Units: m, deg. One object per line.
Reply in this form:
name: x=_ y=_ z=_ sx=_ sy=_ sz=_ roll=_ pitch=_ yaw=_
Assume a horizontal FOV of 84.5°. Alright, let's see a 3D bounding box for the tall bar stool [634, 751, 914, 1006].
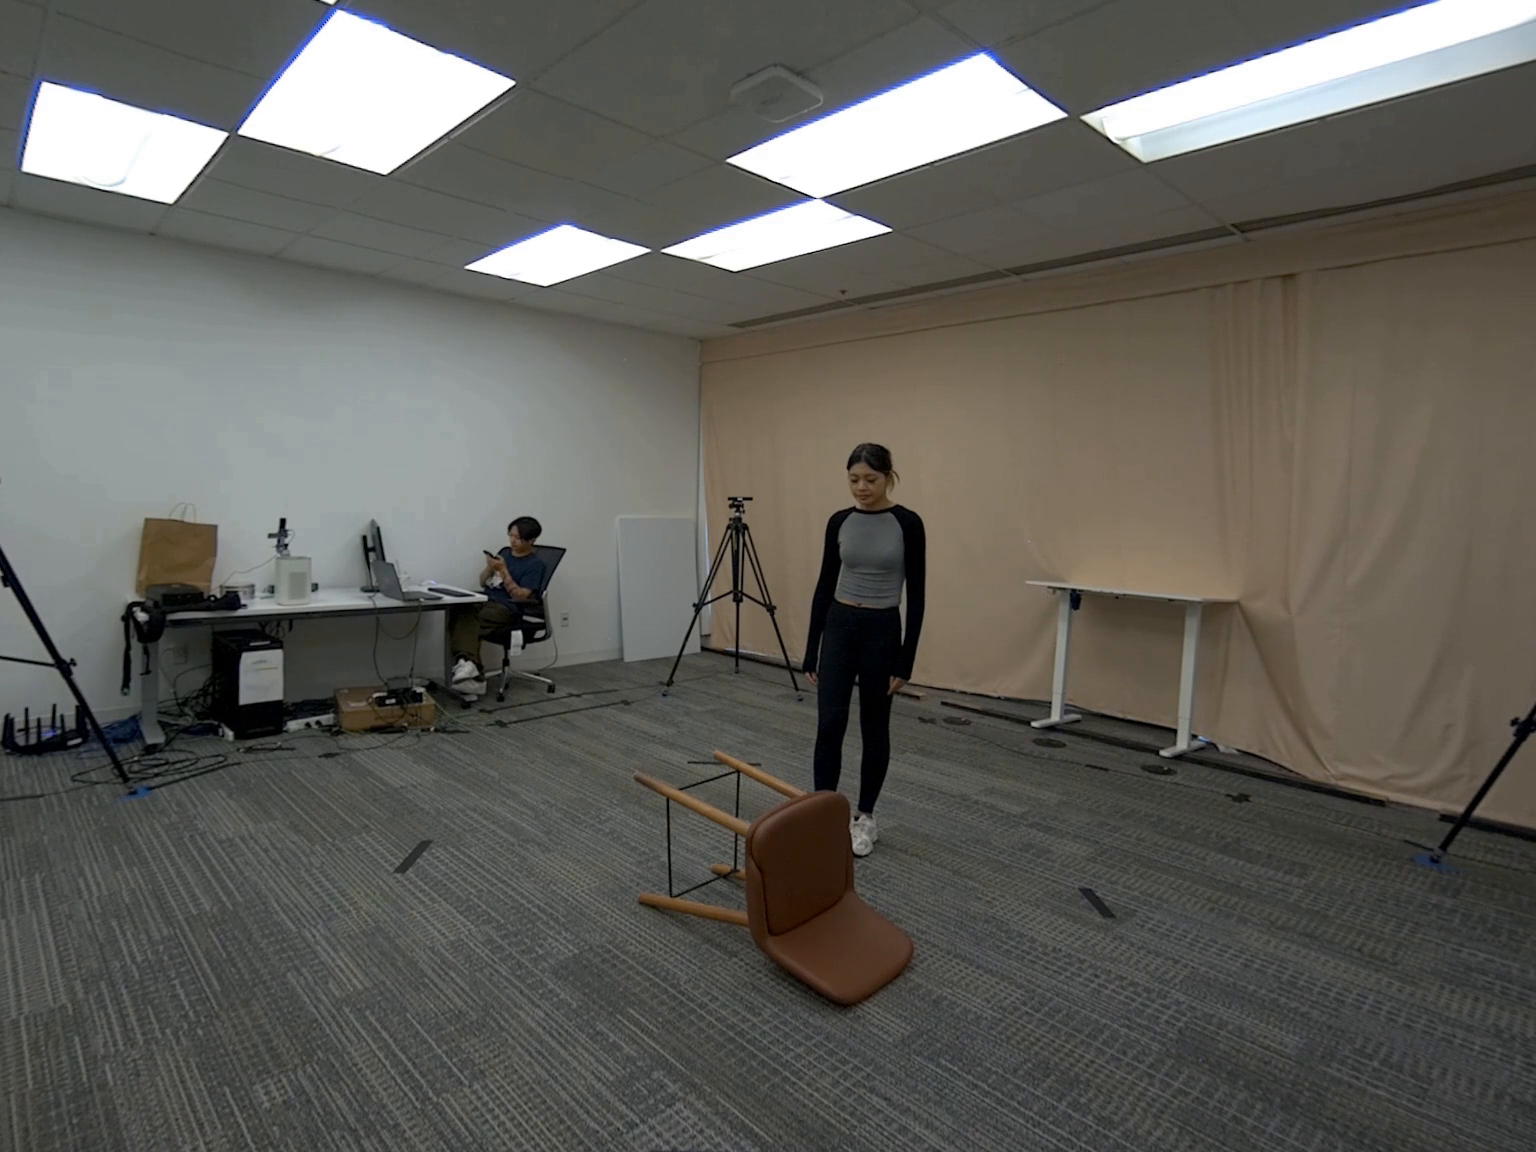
tall bar stool: x=-0.004 y=0.919 z=2.701 sx=0.913 sy=0.466 sz=0.446 roll=6 pitch=6 yaw=44
